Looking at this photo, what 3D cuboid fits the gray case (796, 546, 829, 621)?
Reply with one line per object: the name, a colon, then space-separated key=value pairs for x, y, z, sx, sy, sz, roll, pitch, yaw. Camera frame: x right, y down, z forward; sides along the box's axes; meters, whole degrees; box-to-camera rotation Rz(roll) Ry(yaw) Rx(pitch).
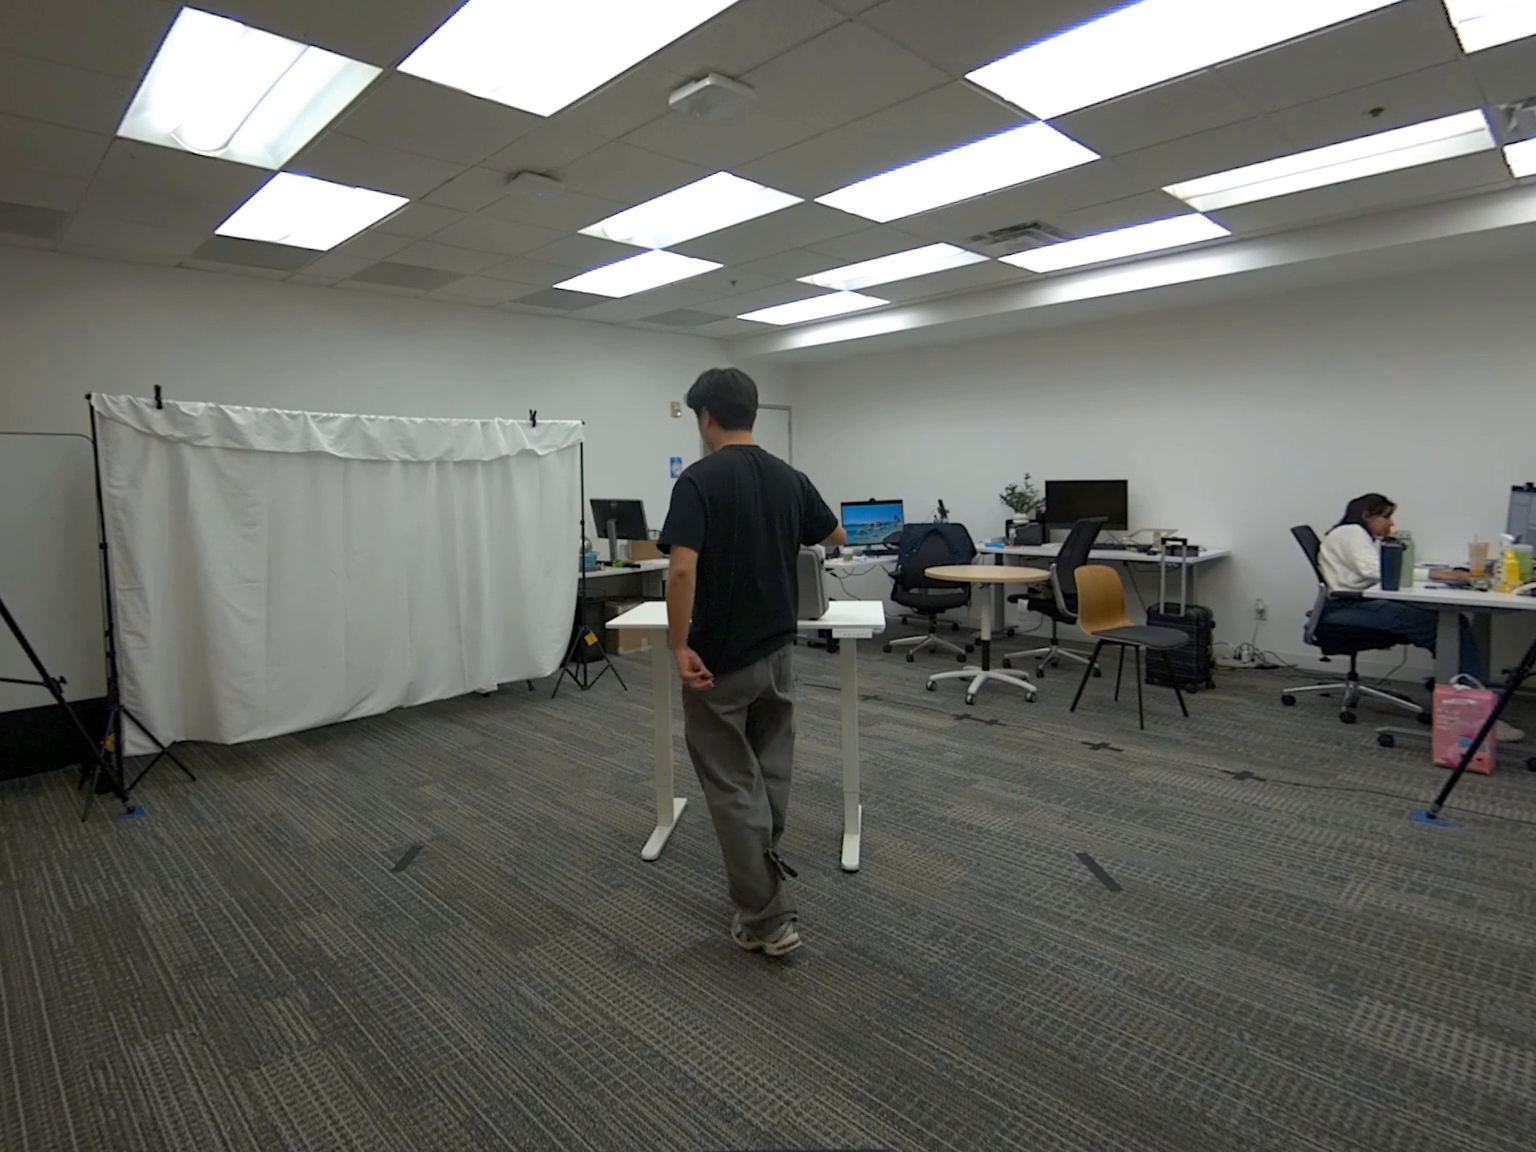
gray case: x=0.080 y=0.014 z=3.118 sx=0.269 sy=0.285 sz=0.101 roll=-2 pitch=9 yaw=26
